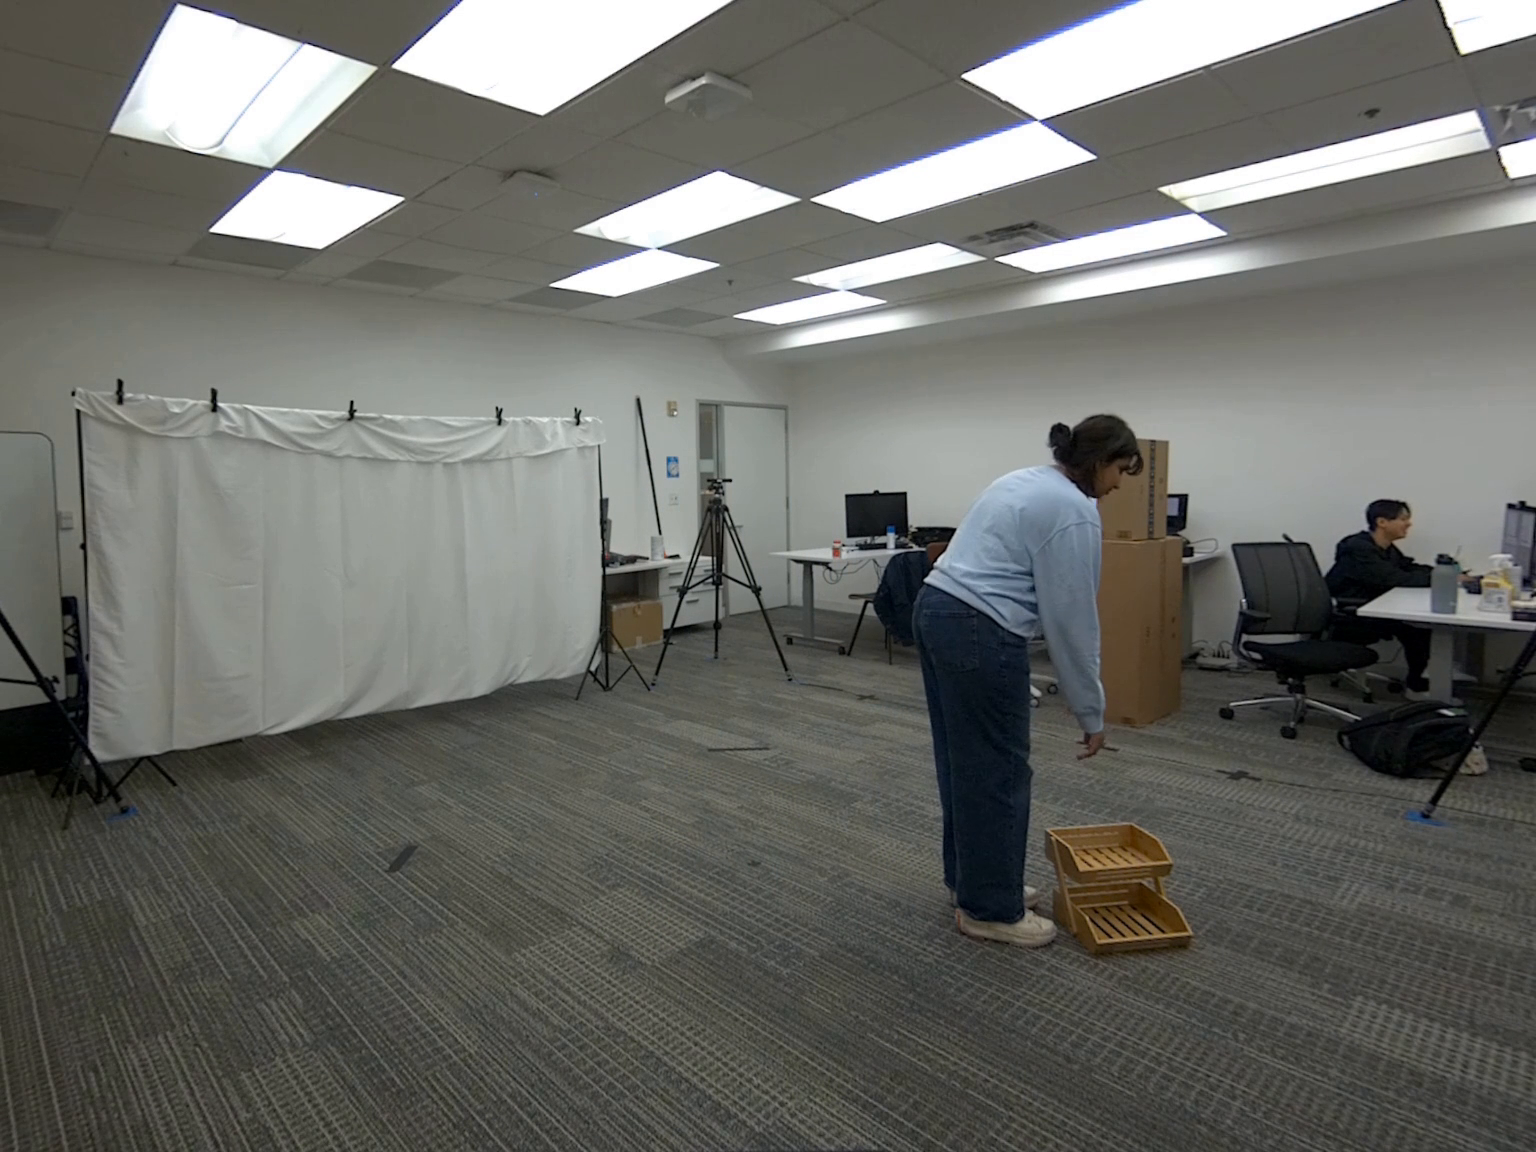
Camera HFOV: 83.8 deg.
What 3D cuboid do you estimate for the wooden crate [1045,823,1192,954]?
[{"bbox_3d":[1.068,0.945,2.608,0.322,0.272,0.305,-2,4,-9],"label":"wooden crate"}]
